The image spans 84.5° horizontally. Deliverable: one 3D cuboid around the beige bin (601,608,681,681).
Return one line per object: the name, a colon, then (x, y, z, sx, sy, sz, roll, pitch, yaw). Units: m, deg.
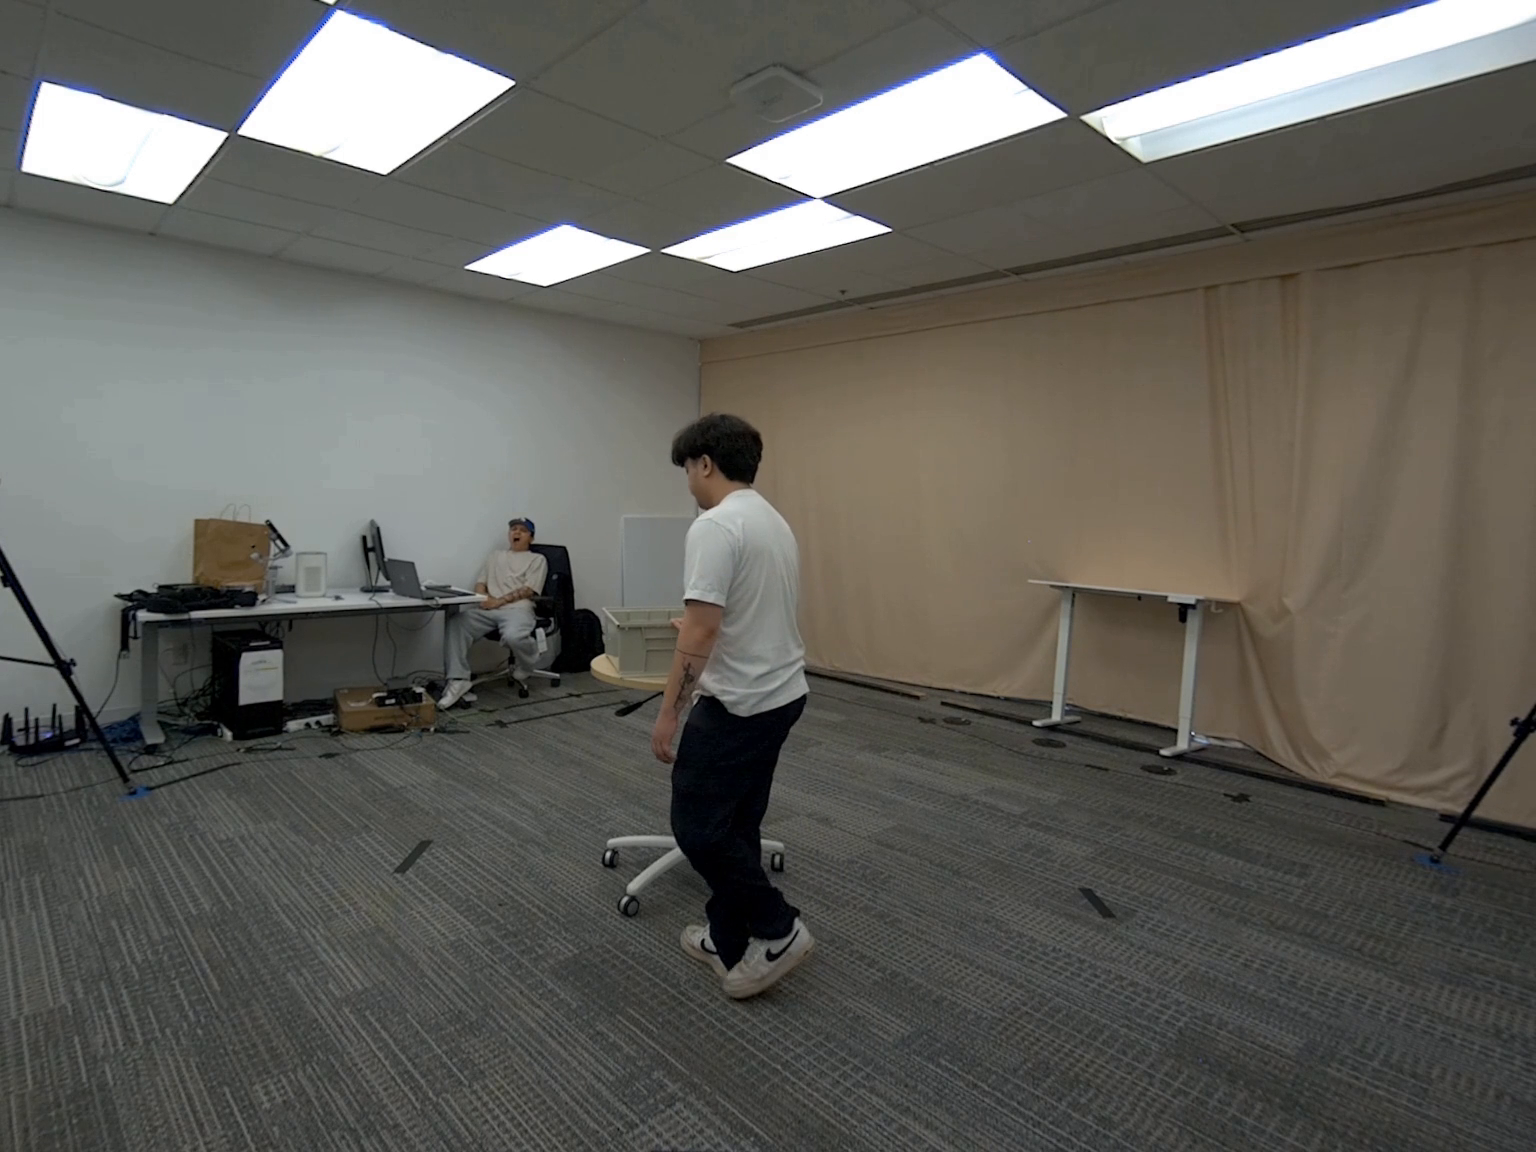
beige bin: (-0.385, 0.228, 2.987, 0.373, 0.188, 0.429, -1, 5, -16)
